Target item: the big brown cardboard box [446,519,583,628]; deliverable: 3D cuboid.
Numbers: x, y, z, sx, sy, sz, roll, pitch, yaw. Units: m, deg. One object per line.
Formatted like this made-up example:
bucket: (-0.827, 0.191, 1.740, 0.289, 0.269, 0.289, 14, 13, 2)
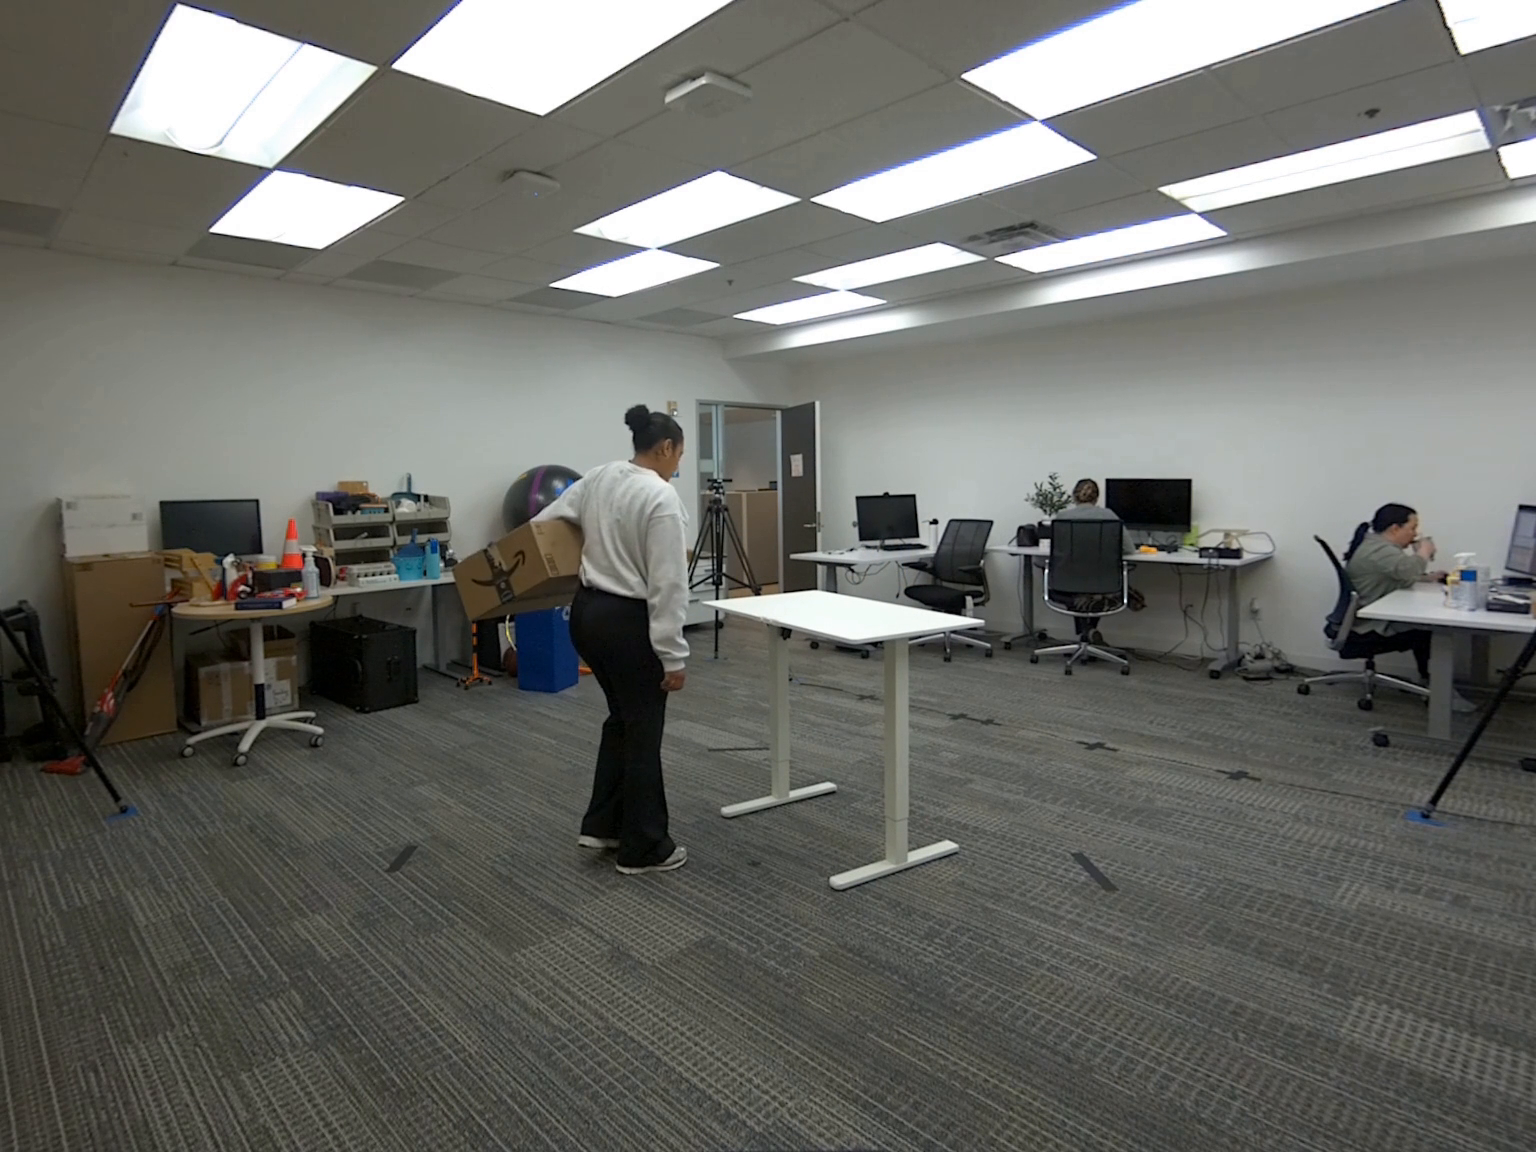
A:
big brown cardboard box: (-0.839, -0.032, 3.283, 0.422, 0.235, 0.578, -26, -6, 24)
